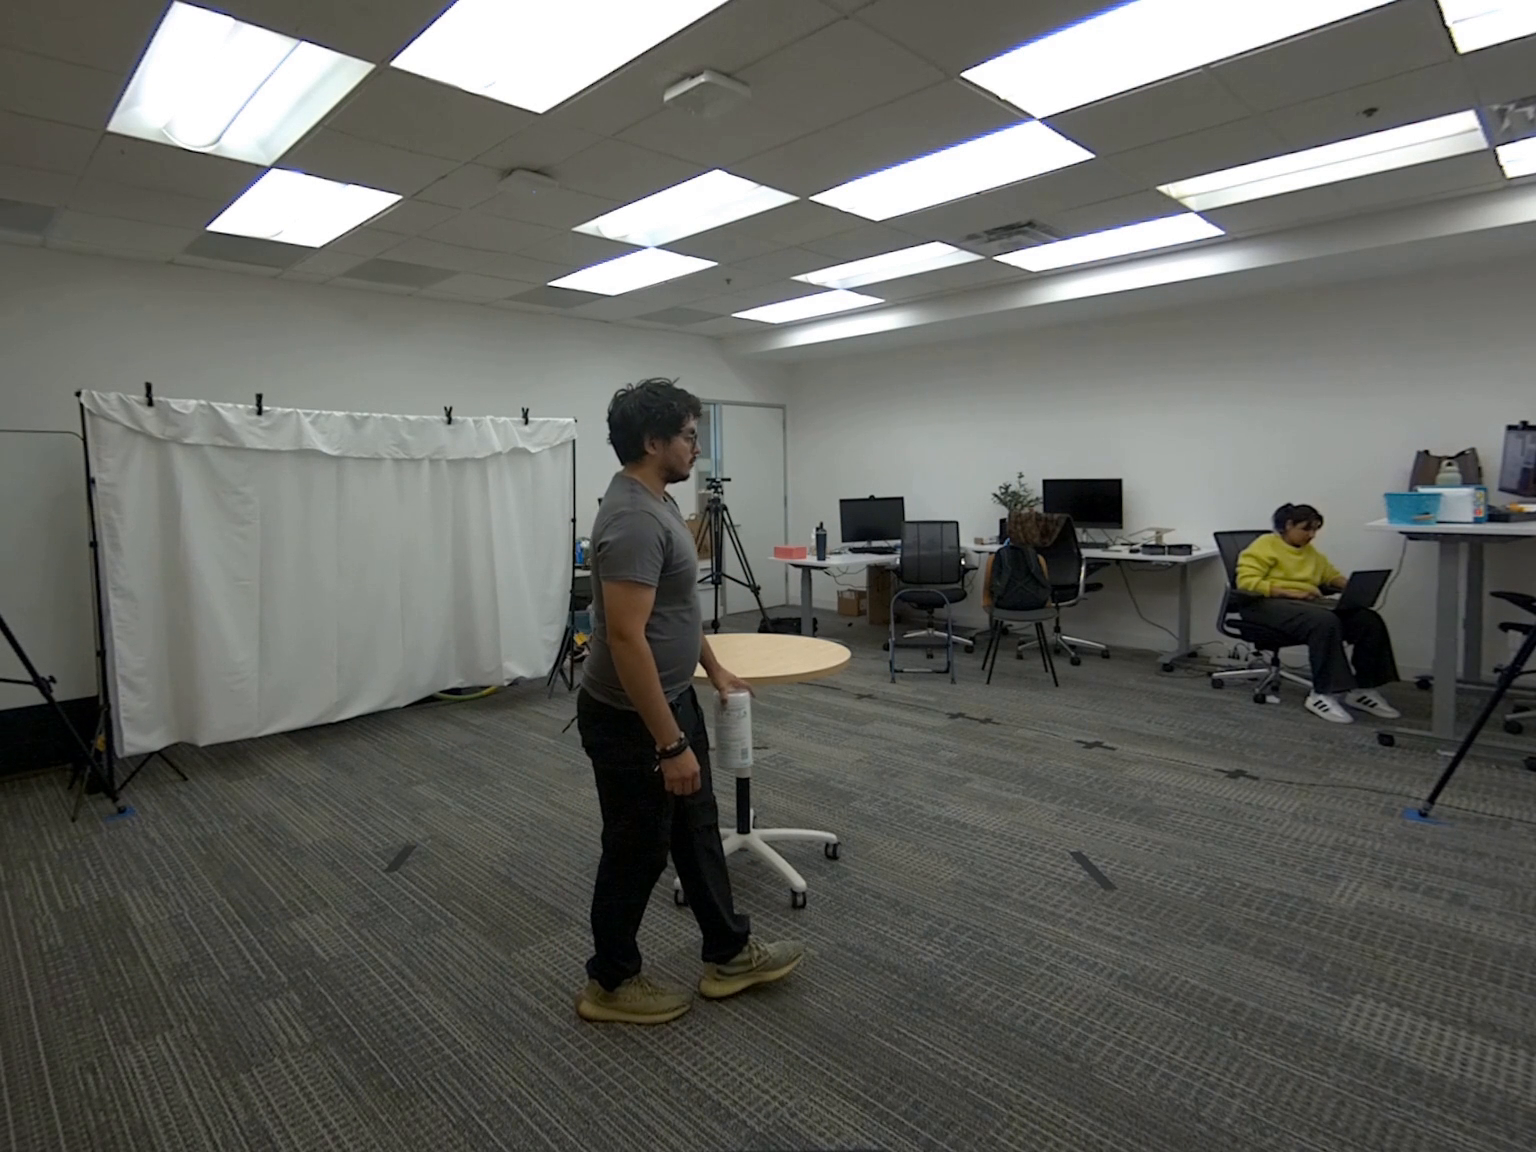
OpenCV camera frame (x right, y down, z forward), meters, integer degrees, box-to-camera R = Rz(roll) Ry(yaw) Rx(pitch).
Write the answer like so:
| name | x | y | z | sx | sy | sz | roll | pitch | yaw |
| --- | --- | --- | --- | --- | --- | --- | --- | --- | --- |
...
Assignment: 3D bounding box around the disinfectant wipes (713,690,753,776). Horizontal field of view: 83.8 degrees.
| name | x | y | z | sx | sy | sz | roll | pitch | yaw |
| --- | --- | --- | --- | --- | --- | --- | --- | --- | --- |
| disinfectant wipes | -0.097 | 0.448 | 2.475 | 0.118 | 0.217 | 0.118 | -2 | 0 | -2 |
